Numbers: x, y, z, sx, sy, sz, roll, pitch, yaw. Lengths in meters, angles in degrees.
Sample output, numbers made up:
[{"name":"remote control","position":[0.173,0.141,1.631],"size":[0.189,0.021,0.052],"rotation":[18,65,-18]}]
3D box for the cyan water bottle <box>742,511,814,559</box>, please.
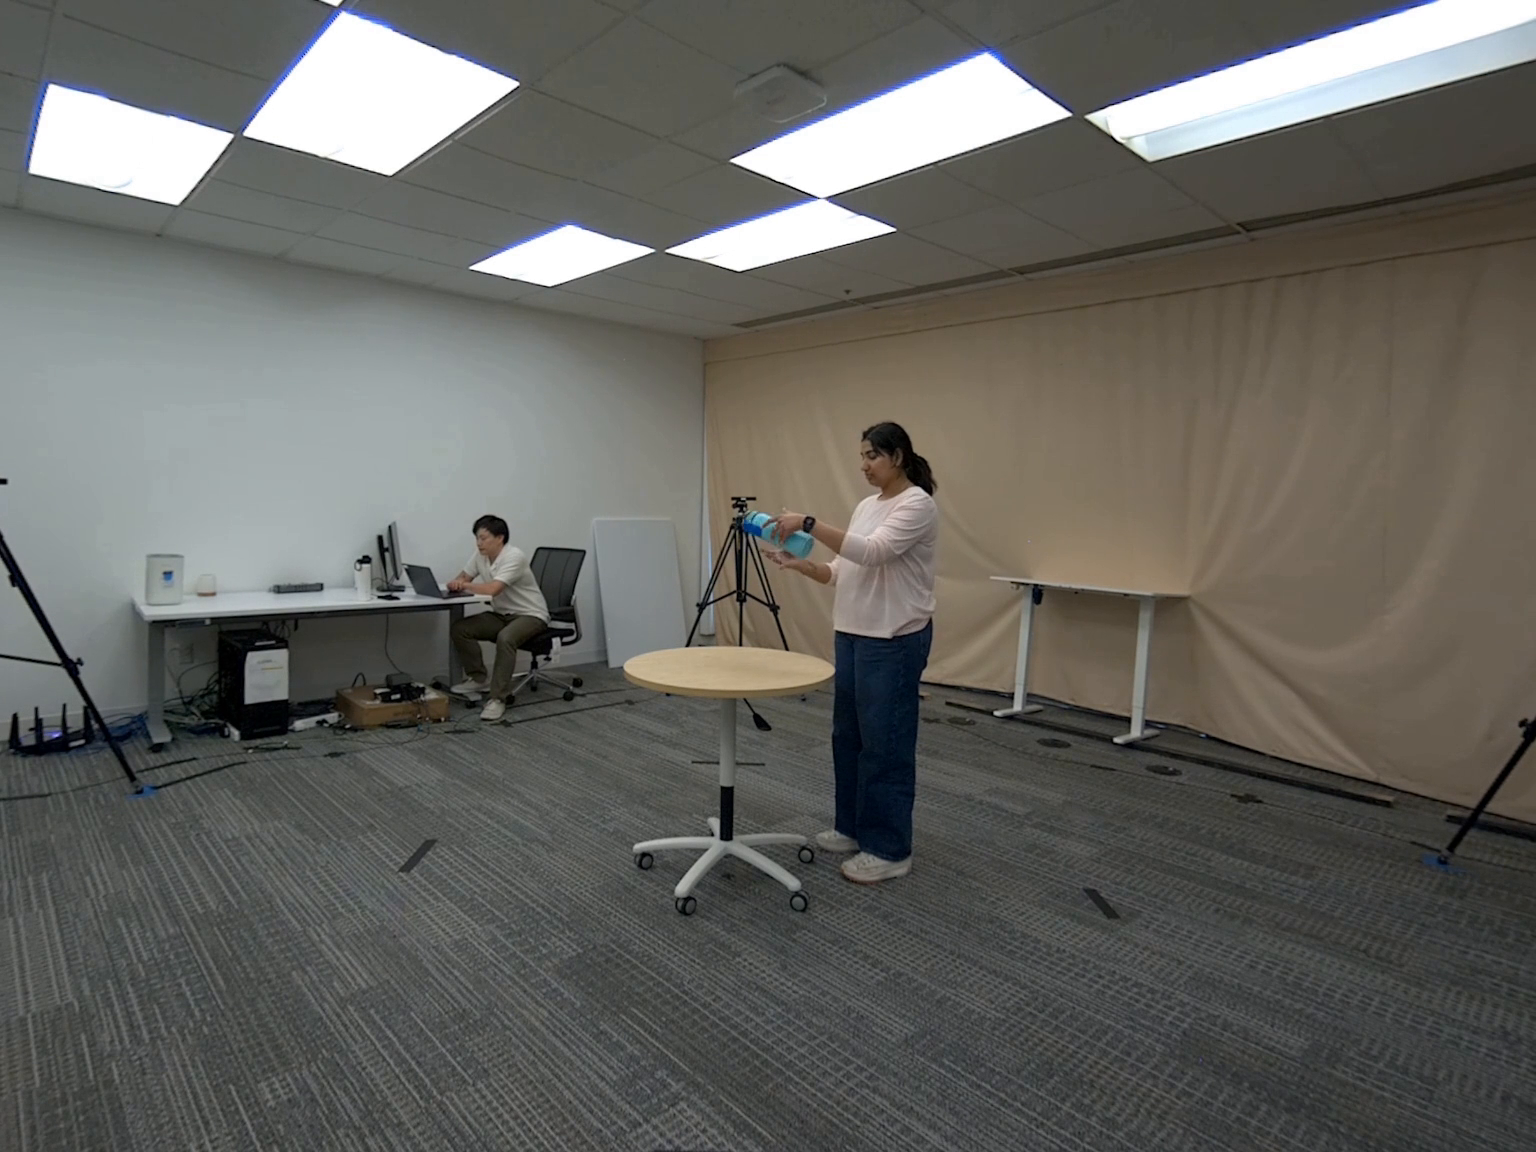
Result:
[{"name":"cyan water bottle","position":[0.027,-0.134,3.097],"size":[0.289,0.092,0.091],"rotation":[27,13,21]}]
